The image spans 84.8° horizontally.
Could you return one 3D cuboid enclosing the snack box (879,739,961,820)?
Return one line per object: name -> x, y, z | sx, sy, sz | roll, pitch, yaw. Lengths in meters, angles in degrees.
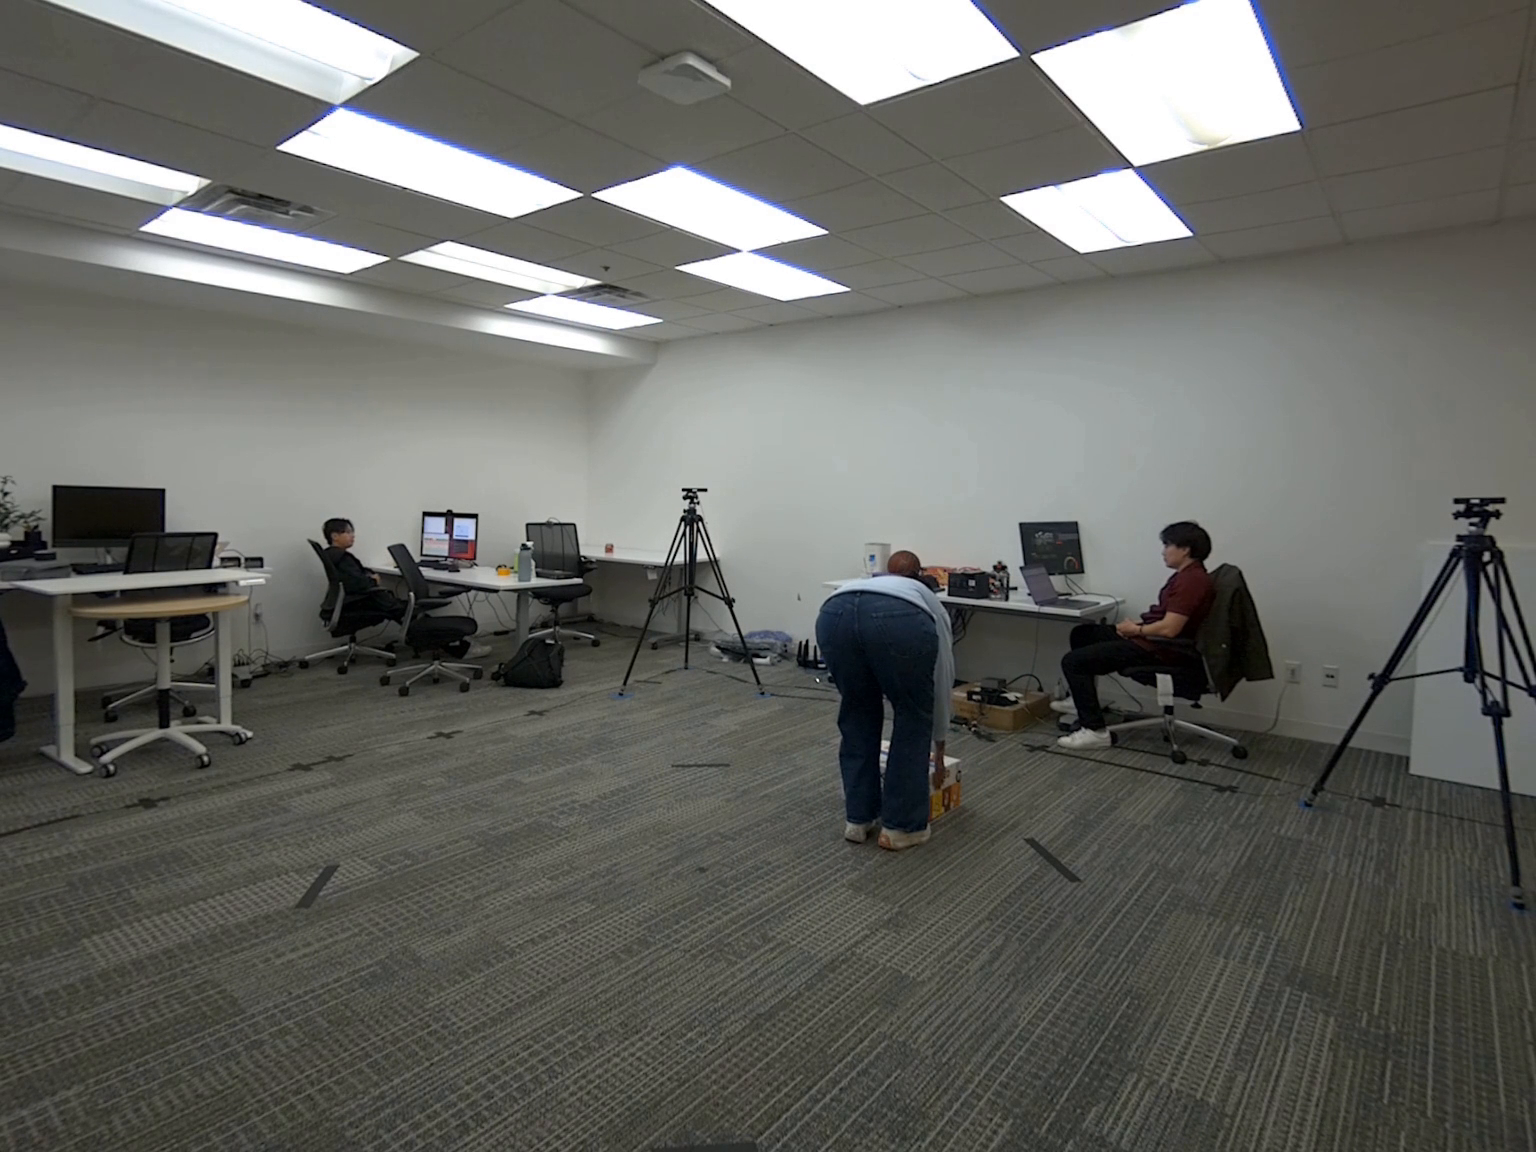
snack box -> 0.587, 0.904, 3.816 | 0.419, 0.205, 0.330 | 7, 7, 40
